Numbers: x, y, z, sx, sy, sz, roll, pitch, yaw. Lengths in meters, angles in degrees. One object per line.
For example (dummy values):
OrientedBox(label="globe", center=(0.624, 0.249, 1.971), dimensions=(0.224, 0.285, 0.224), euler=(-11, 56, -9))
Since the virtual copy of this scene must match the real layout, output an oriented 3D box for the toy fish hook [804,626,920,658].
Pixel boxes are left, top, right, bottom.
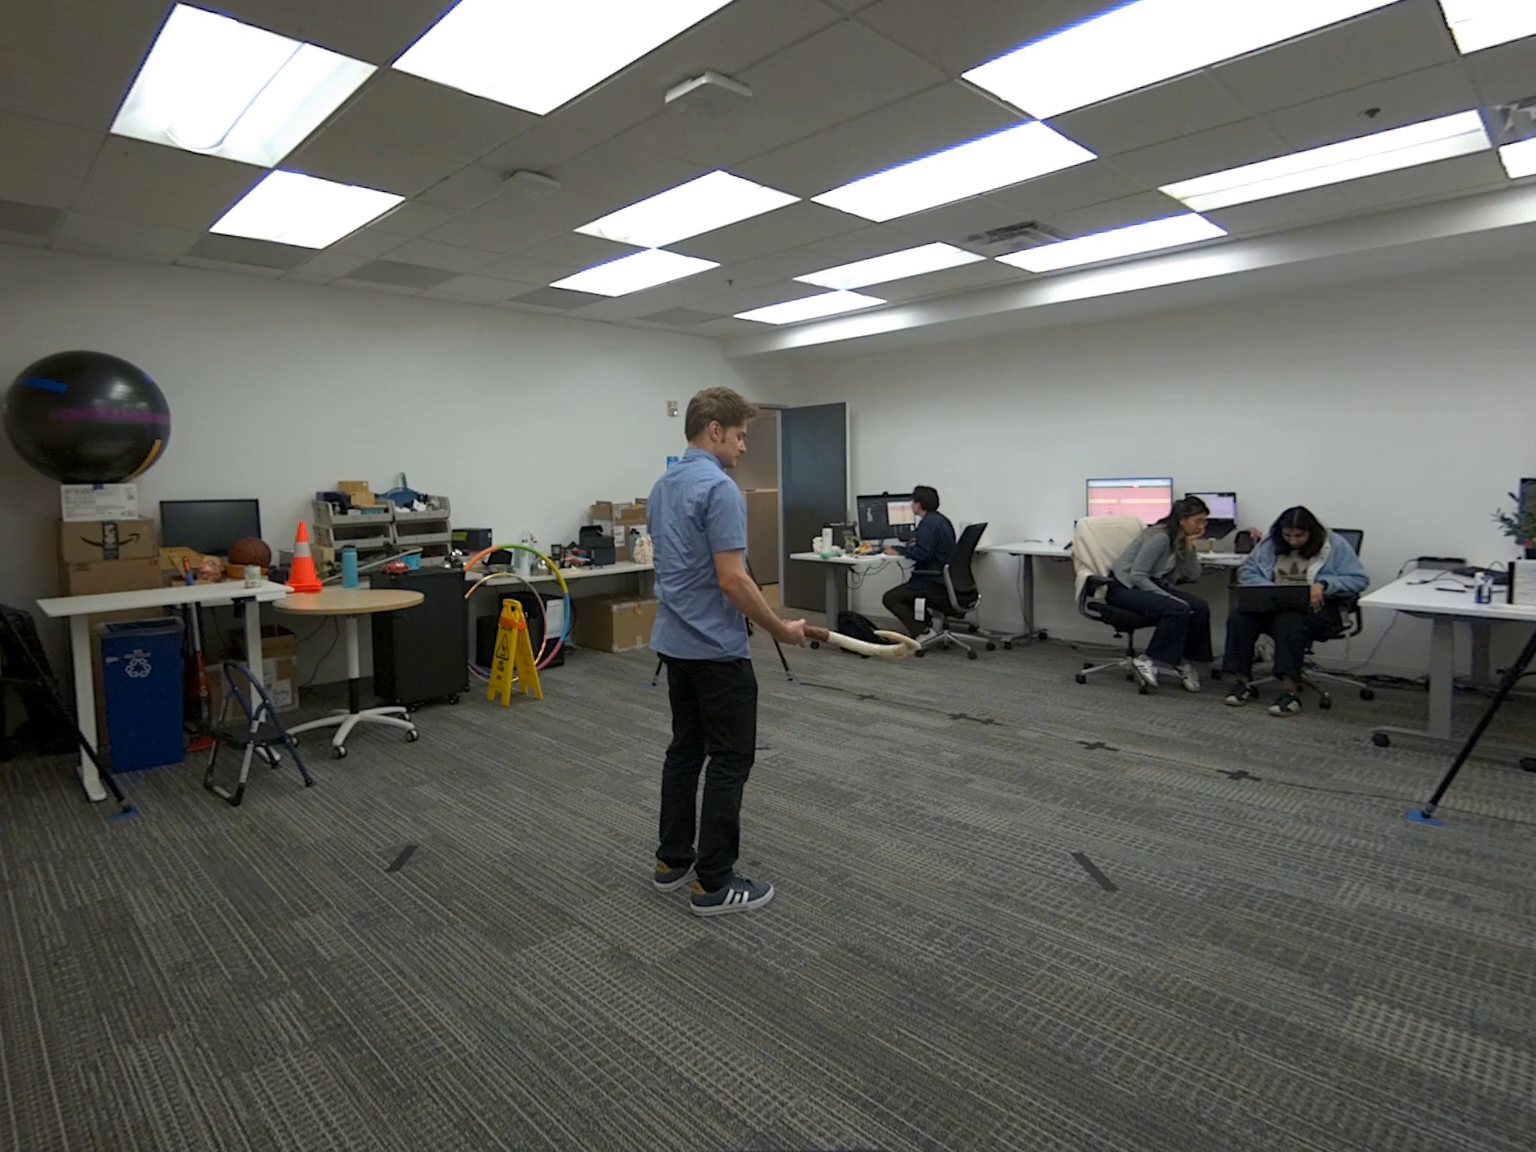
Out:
OrientedBox(label="toy fish hook", center=(0.263, 0.202, 2.858), dimensions=(0.500, 0.049, 0.223), euler=(13, -27, -11))
